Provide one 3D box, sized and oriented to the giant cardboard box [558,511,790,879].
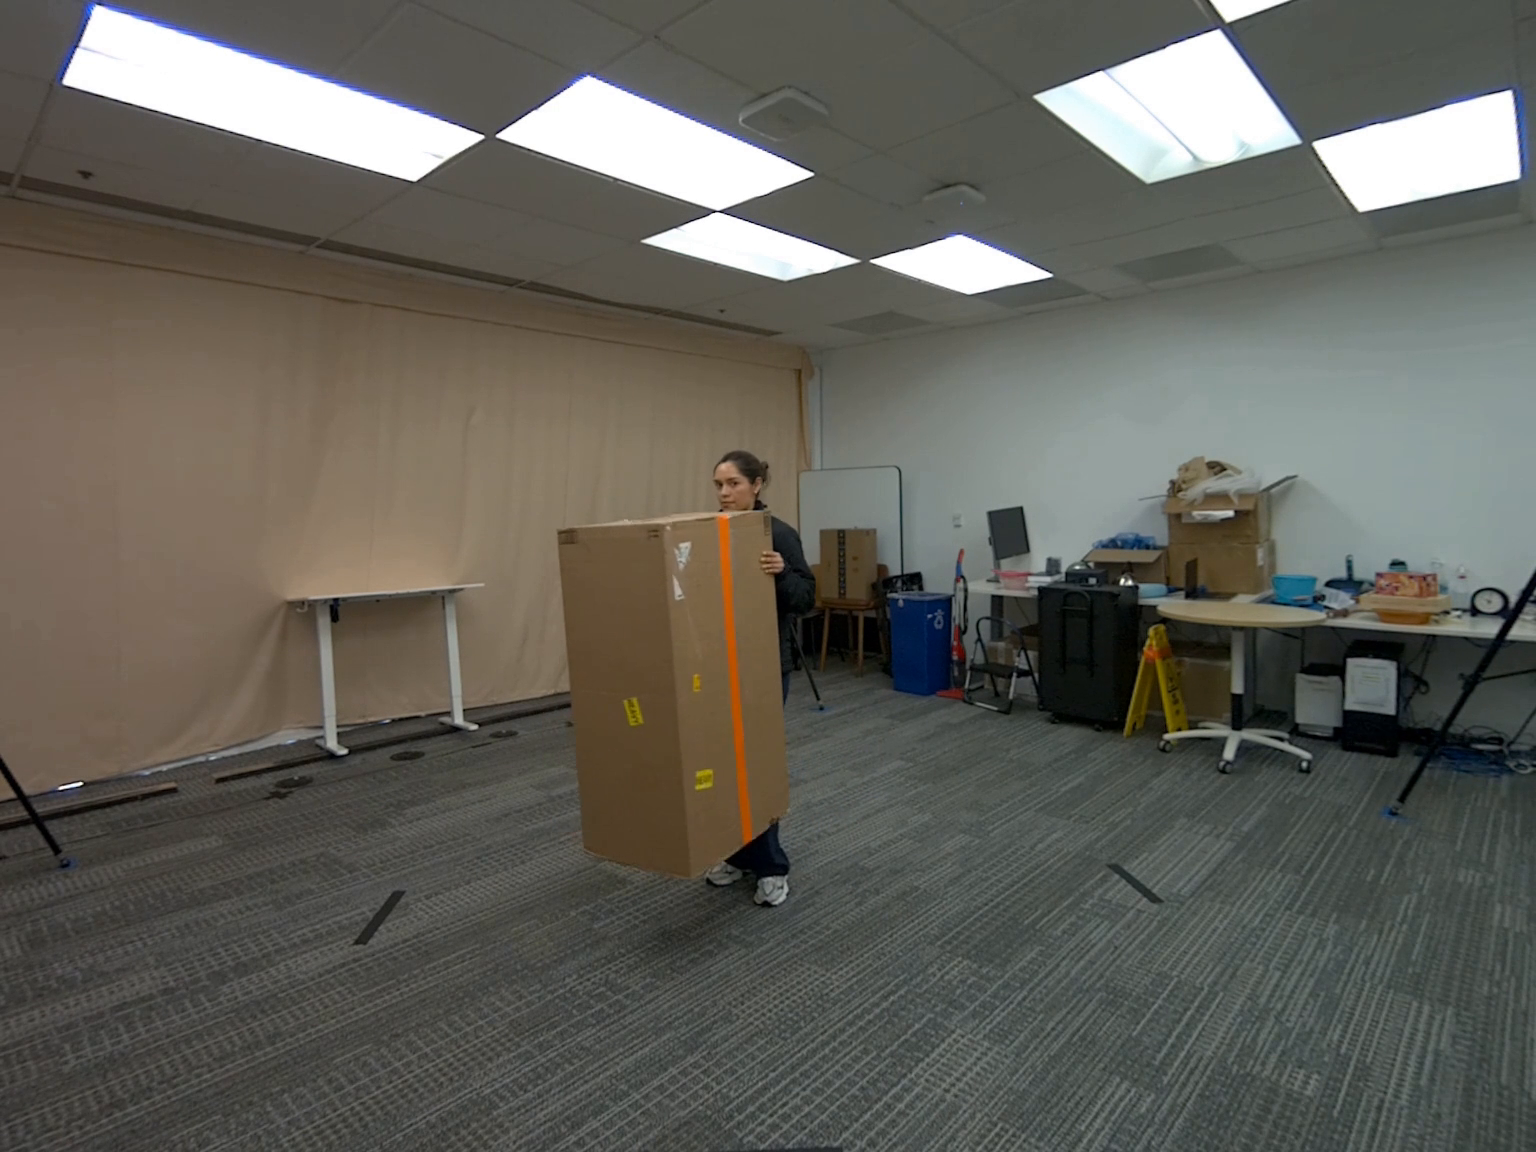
[{"bbox_3d":[-0.269,0.332,2.708,0.439,1.023,0.562,-1,5,34],"label":"giant cardboard box"}]
